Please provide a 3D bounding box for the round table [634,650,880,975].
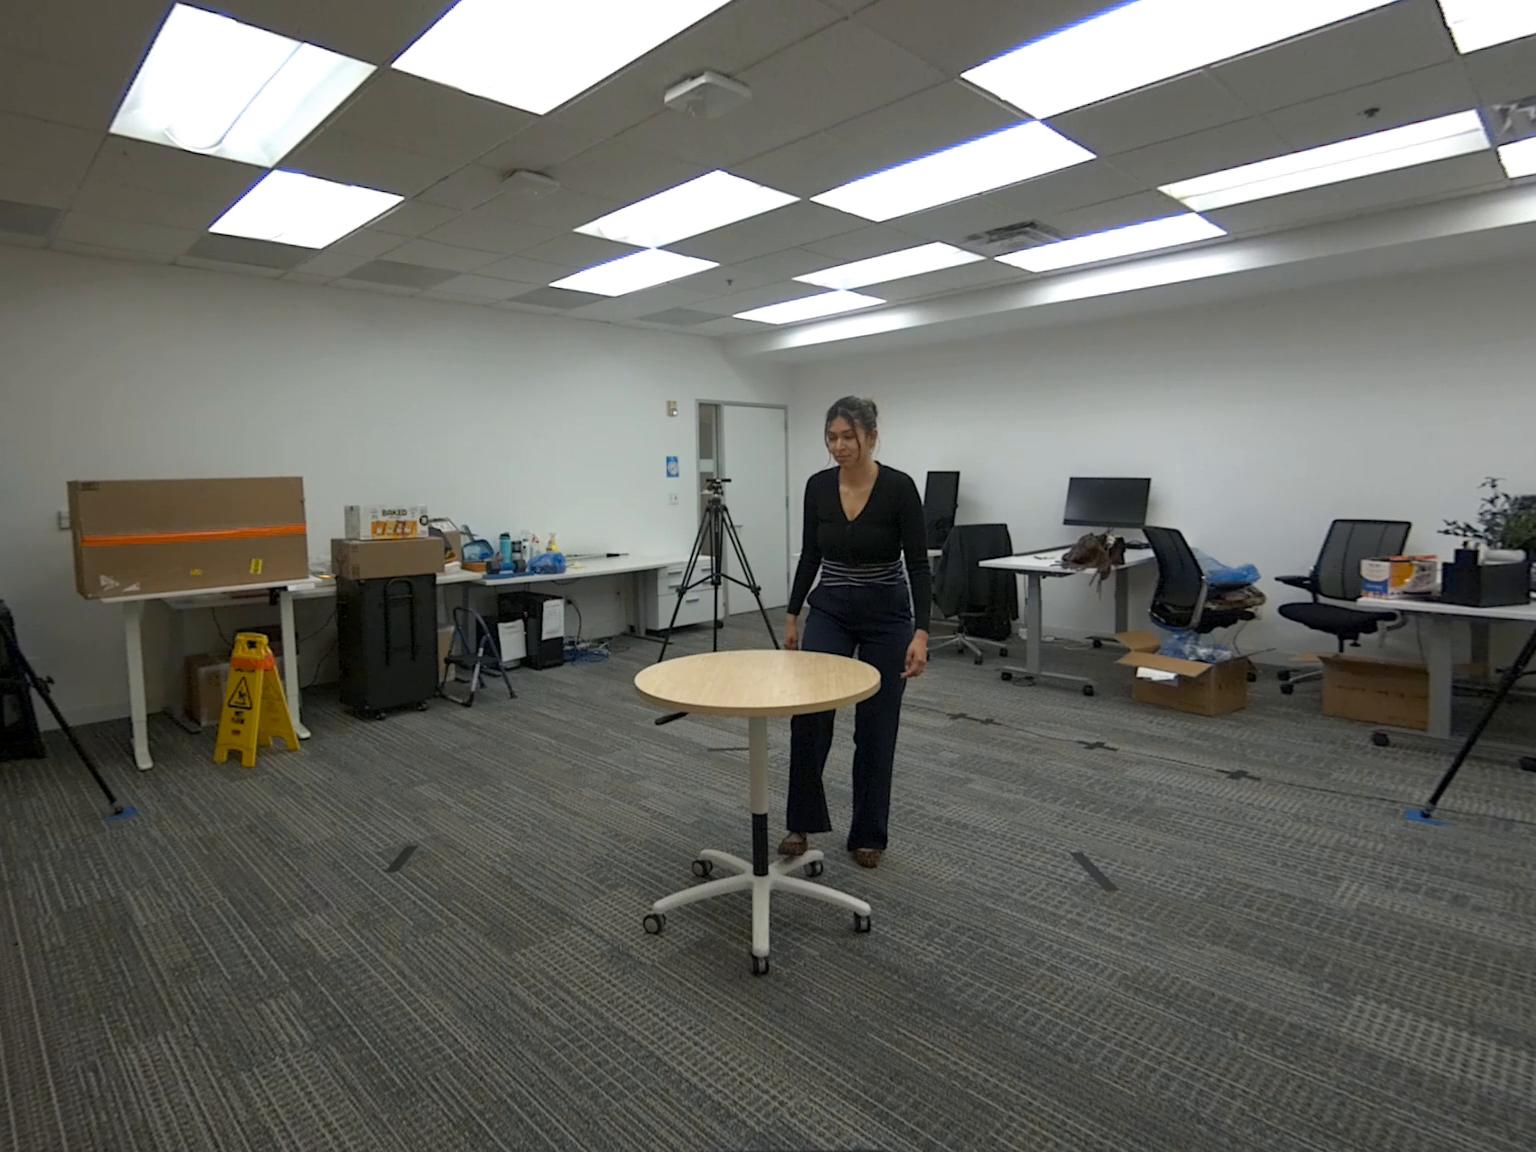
[{"bbox_3d":[-0.029,0.702,2.707,0.763,0.791,0.768,-2,5,-2],"label":"round table"}]
